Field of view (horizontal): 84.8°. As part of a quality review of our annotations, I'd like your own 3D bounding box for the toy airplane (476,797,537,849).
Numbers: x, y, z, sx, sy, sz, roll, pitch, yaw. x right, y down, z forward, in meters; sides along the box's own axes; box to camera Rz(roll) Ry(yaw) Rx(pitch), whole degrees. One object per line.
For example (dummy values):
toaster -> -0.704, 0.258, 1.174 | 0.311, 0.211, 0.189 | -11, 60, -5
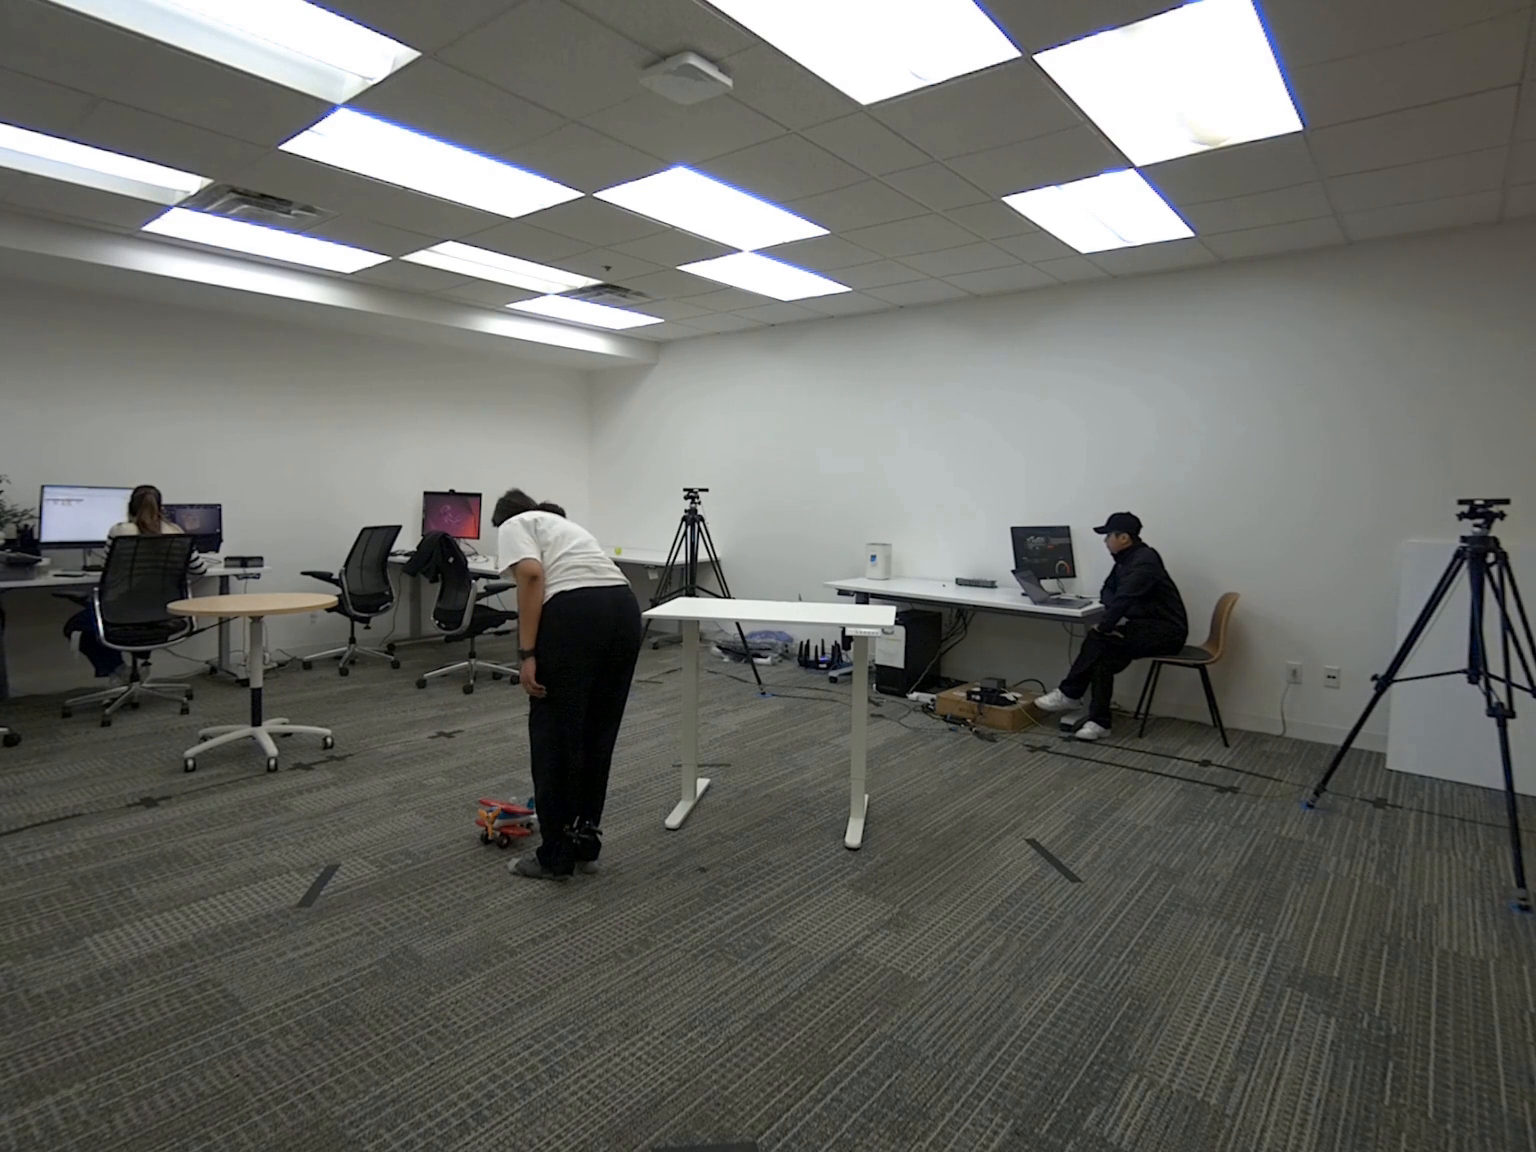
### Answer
toy airplane -> -1.046, 0.956, 3.364 | 0.251, 0.156, 0.260 | 0, 4, 0
